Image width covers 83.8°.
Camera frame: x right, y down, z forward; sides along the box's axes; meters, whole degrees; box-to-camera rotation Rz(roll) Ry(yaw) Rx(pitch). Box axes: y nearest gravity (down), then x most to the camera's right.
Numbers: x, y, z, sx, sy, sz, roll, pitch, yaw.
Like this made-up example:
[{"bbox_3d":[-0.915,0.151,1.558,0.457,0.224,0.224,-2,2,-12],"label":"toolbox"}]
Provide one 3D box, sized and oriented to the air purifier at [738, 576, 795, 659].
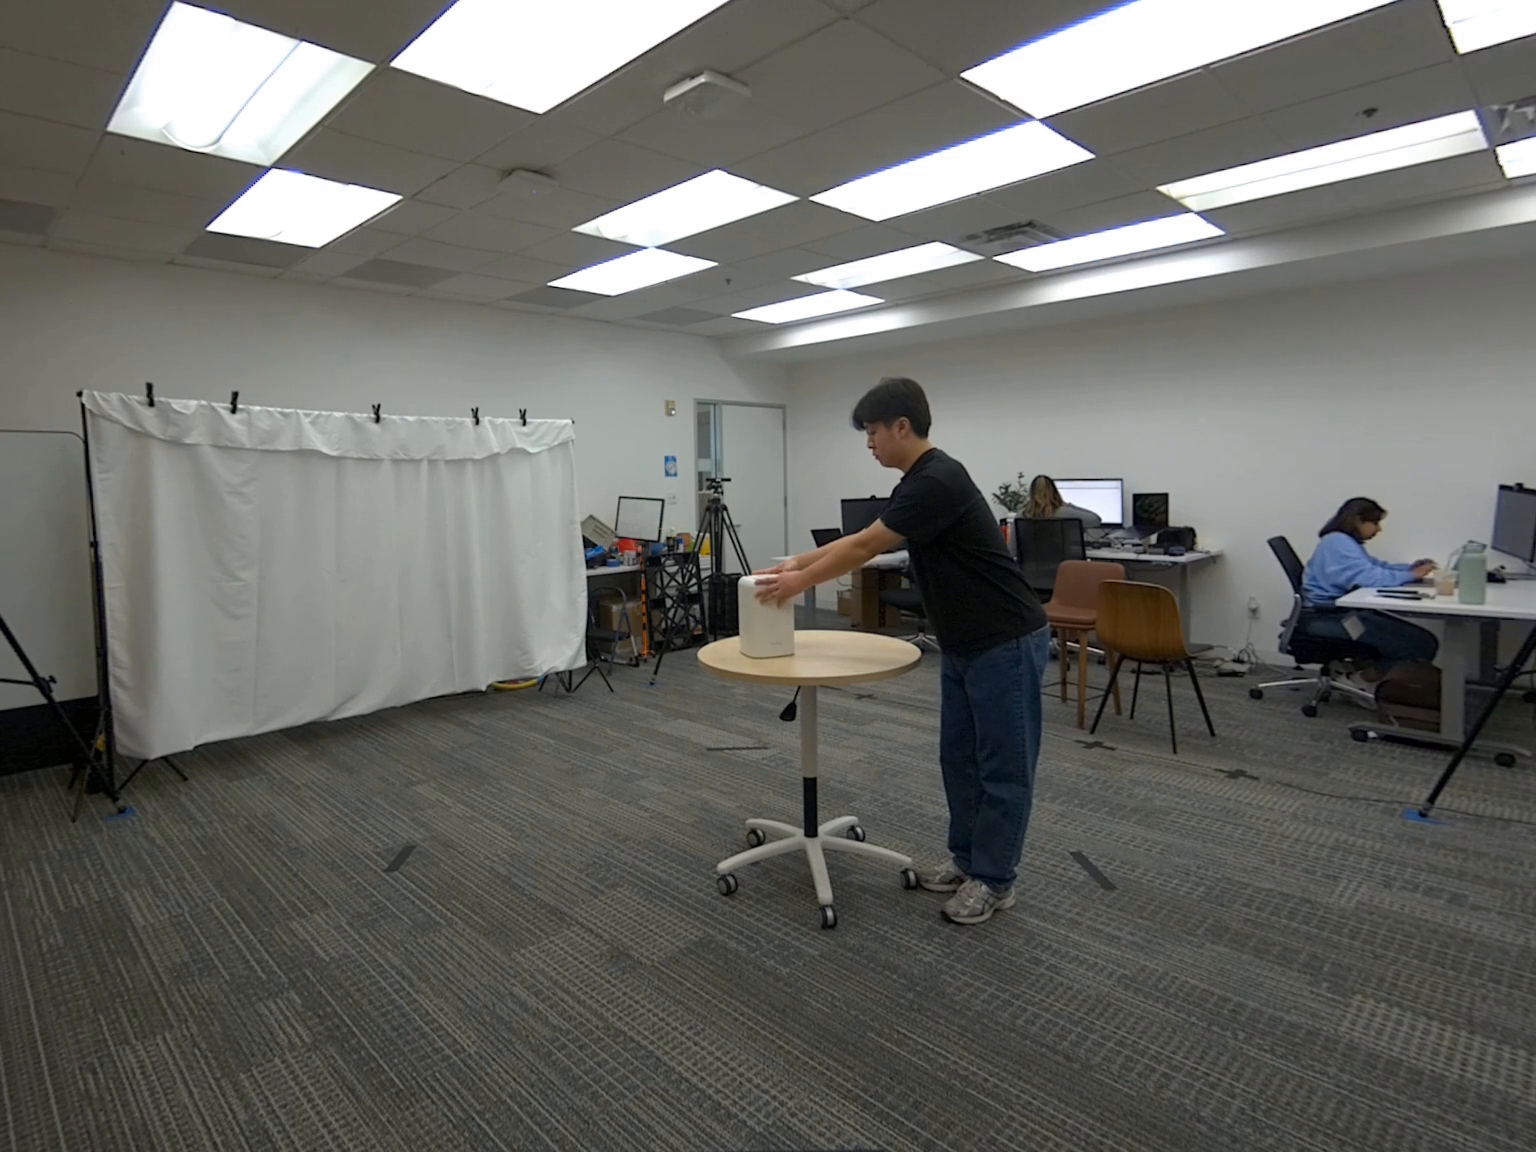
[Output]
[{"bbox_3d":[-0.003,0.133,2.937,0.169,0.264,0.174,-2,5,-14],"label":"air purifier"}]
